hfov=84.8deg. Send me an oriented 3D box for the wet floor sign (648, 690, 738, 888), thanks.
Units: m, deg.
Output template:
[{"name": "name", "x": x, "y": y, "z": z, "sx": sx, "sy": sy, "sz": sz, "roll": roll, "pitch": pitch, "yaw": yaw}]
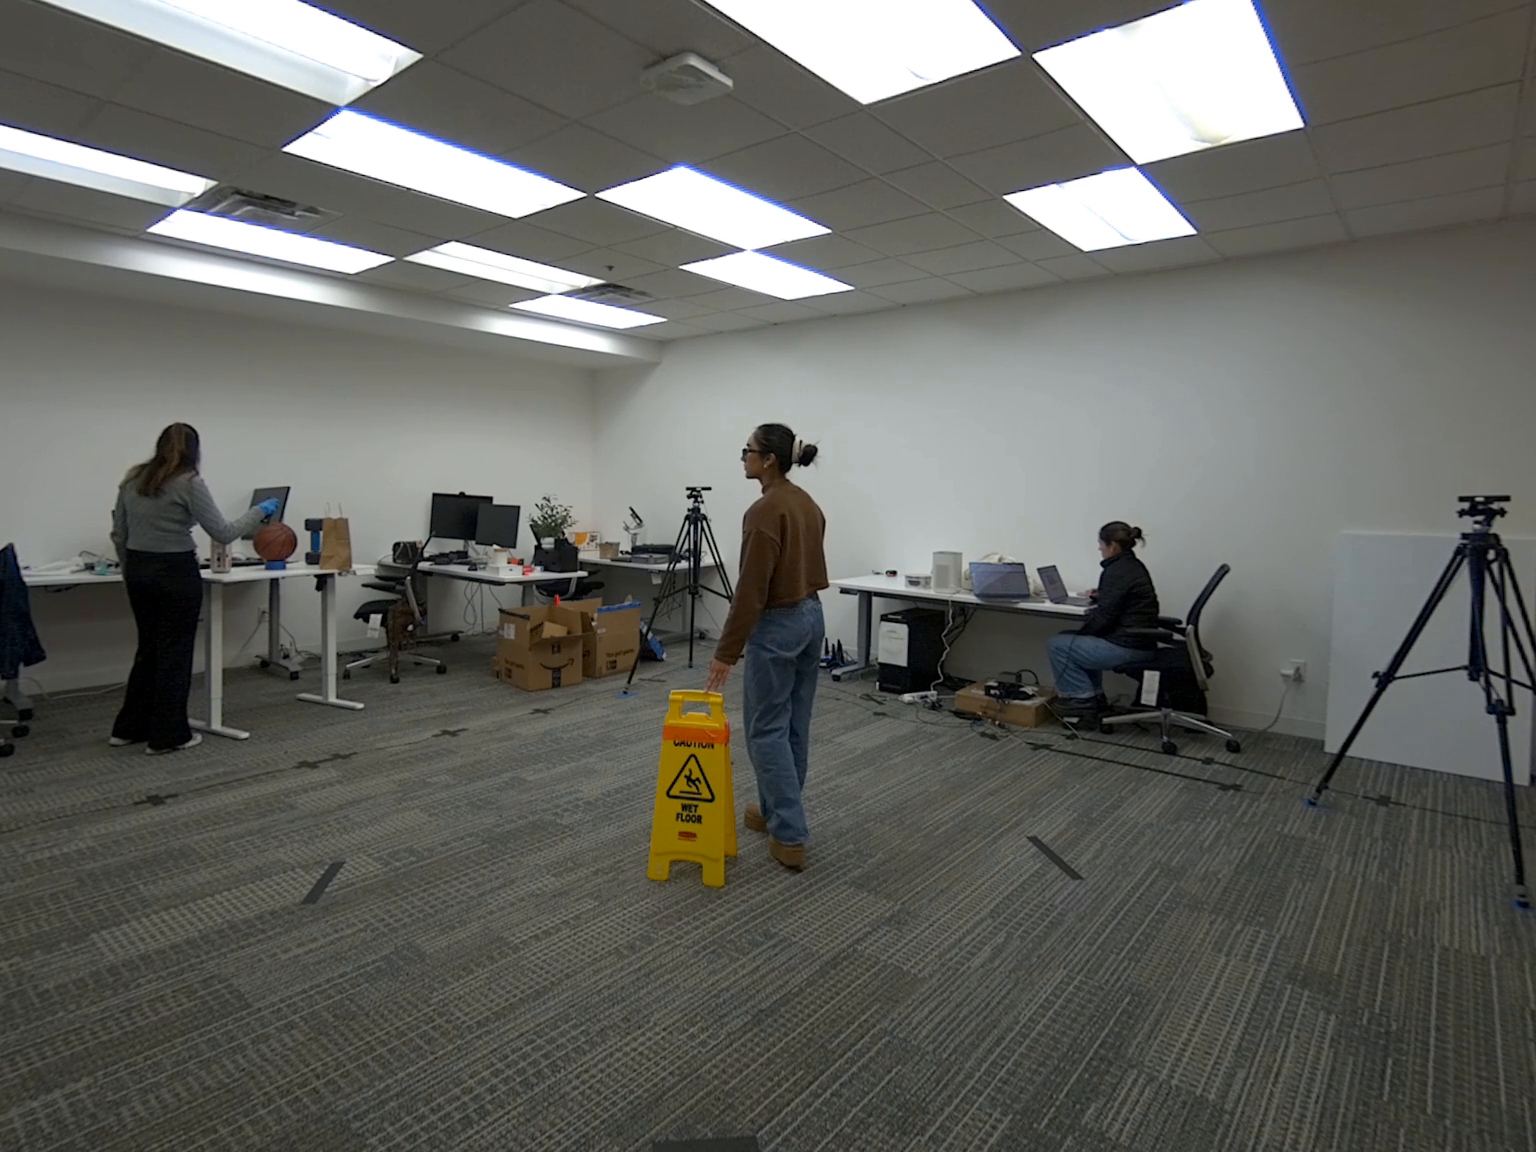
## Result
[{"name": "wet floor sign", "x": -0.277, "y": 0.742, "z": 3.102, "sx": 0.286, "sy": 0.644, "sz": 0.287, "roll": 0, "pitch": 4, "yaw": 11}]
